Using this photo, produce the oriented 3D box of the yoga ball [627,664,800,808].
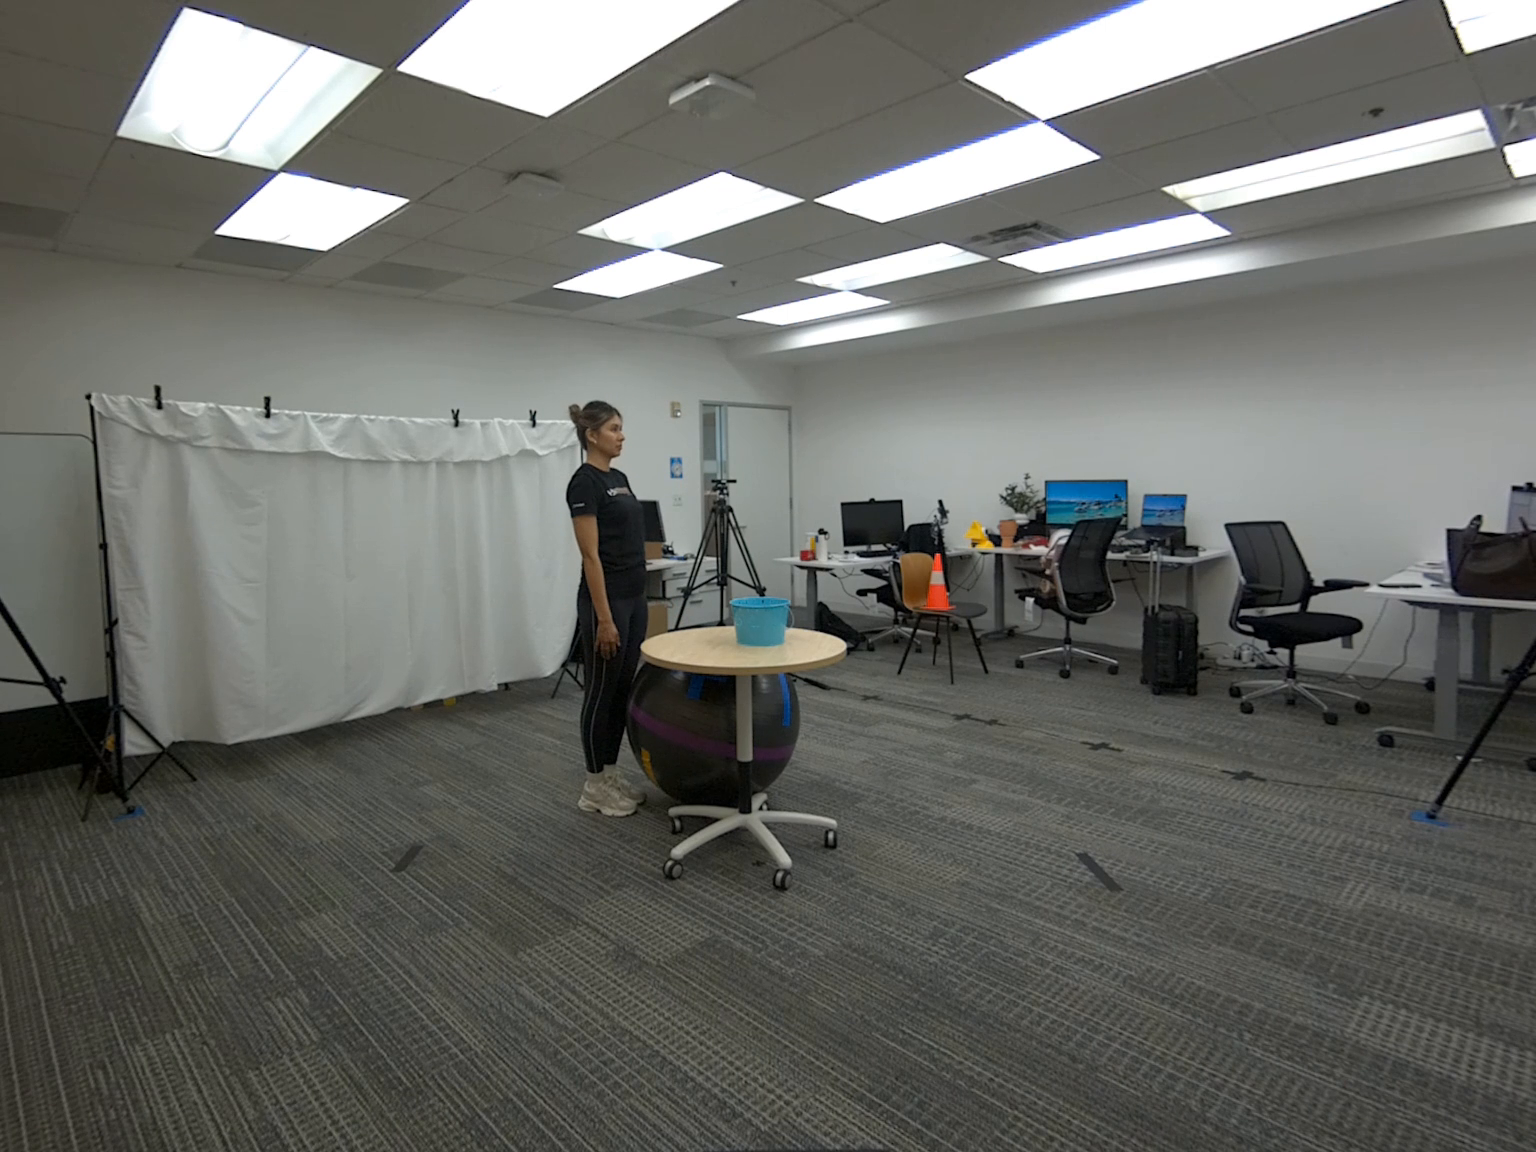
[{"bbox_3d":[-0.239,0.620,3.726,0.757,0.755,0.762,-1,5,-2],"label":"yoga ball"}]
